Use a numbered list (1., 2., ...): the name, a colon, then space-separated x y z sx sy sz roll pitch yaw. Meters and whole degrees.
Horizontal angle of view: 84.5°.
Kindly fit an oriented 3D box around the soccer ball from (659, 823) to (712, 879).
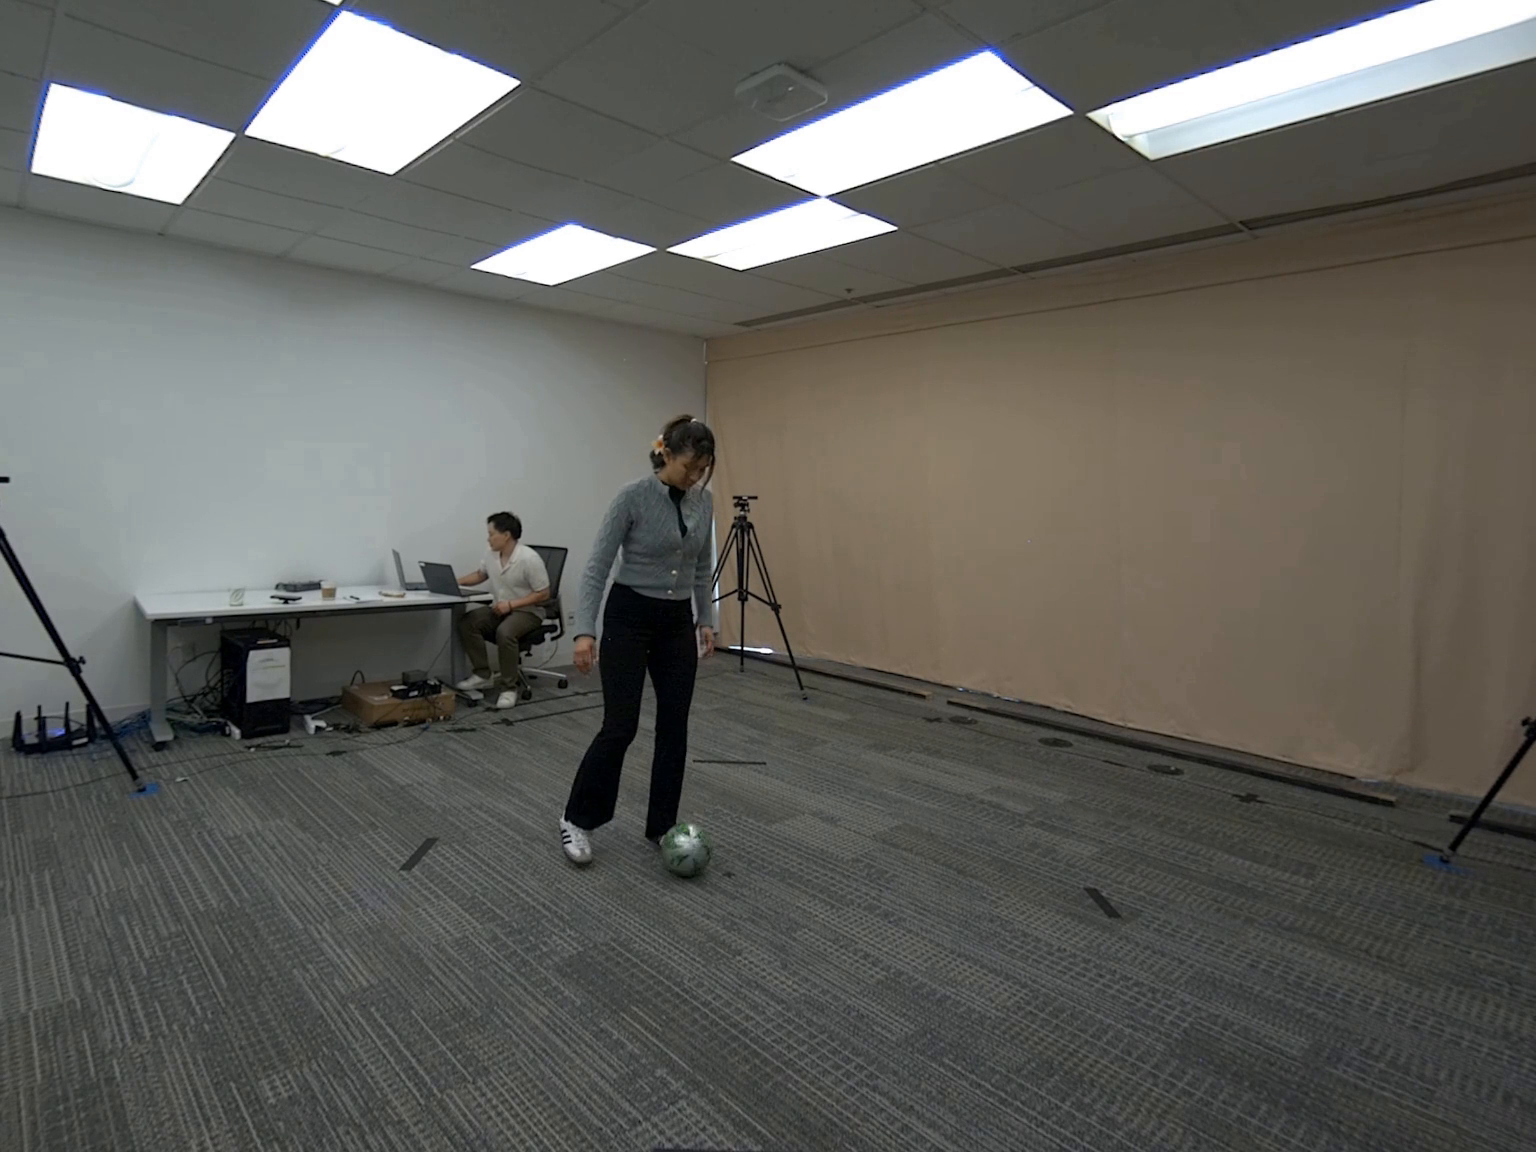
1. soccer ball: -0.309 1.009 3.092 0.187 0.187 0.188 1 4 -1
